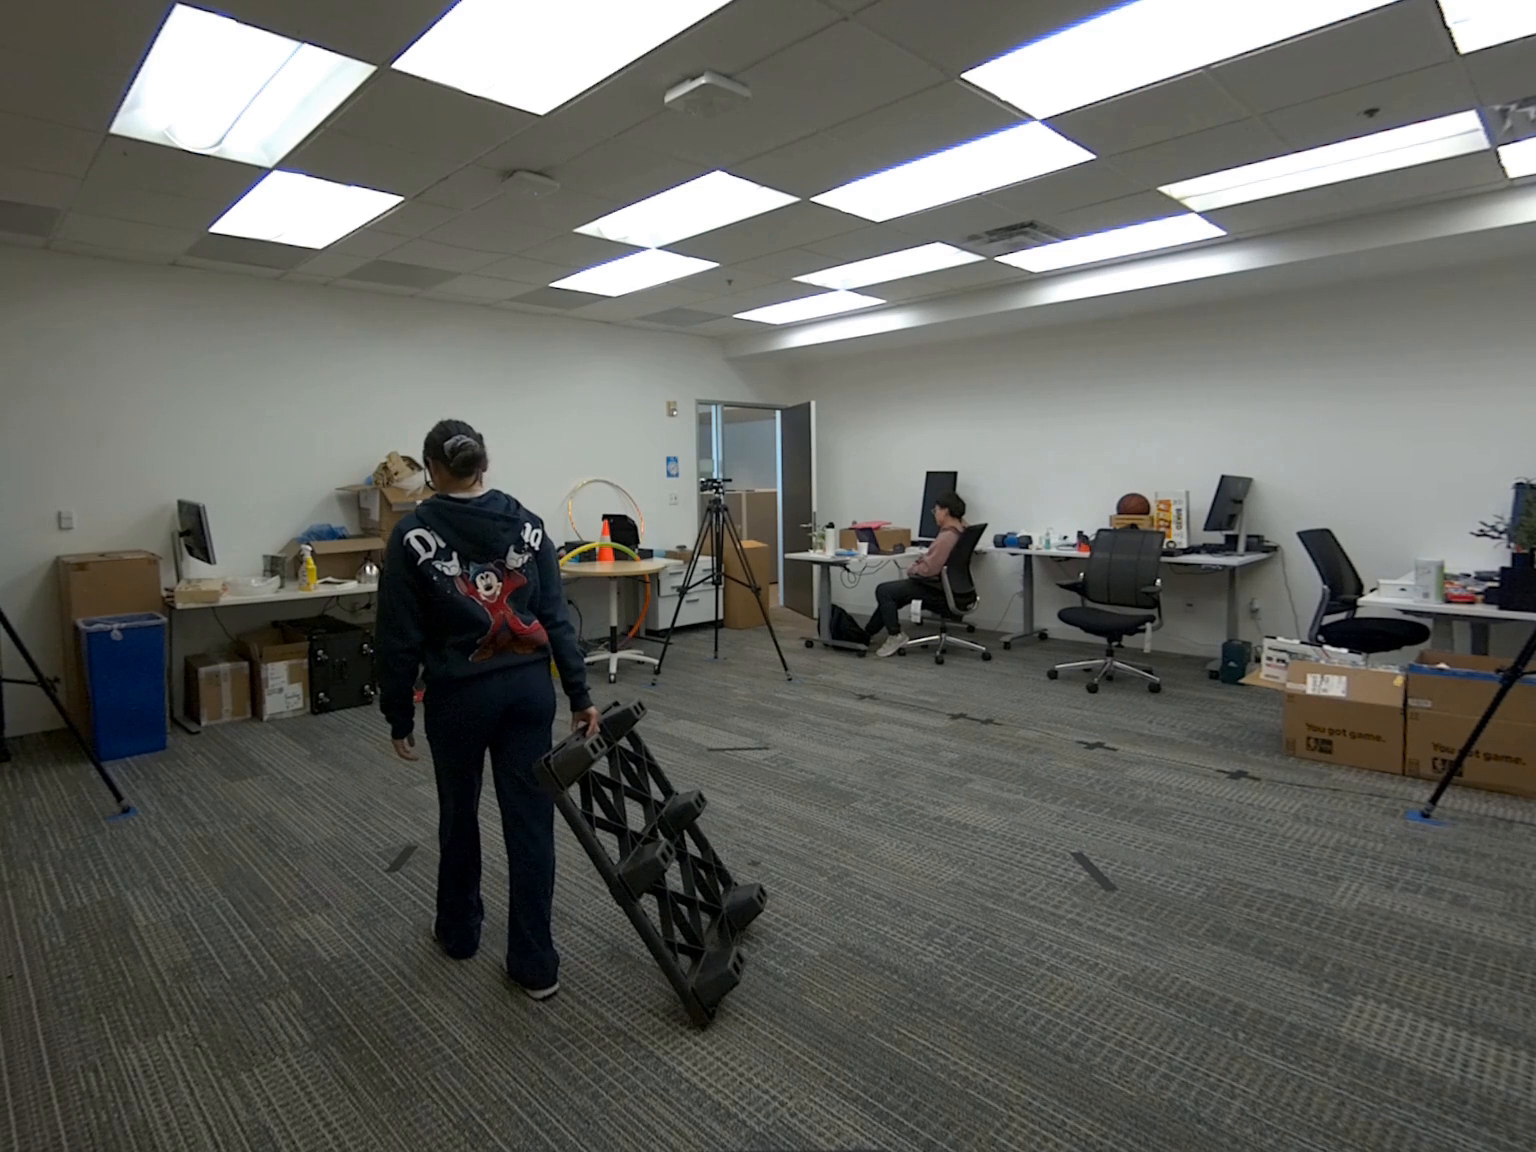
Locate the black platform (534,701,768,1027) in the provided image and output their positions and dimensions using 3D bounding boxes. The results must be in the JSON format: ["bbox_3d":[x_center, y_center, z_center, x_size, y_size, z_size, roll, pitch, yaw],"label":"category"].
[{"bbox_3d":[-0.299,0.759,2.474,0.144,0.809,0.600,-34,-3,13],"label":"black platform"}]
